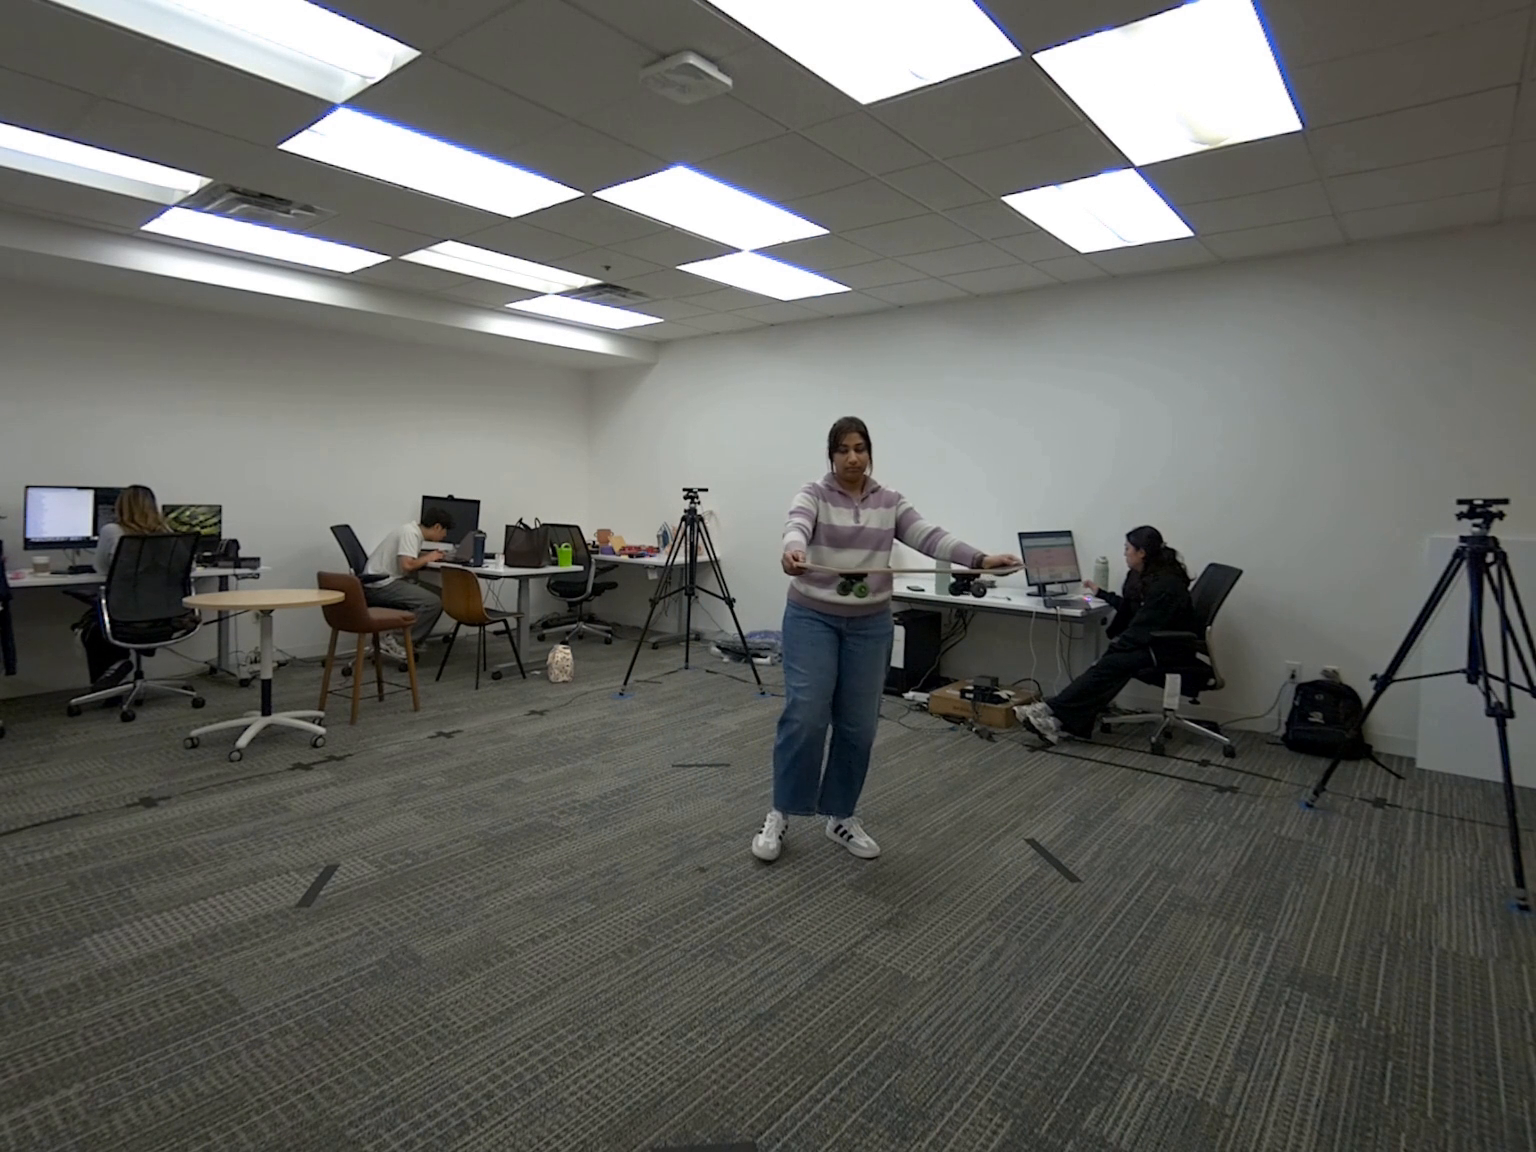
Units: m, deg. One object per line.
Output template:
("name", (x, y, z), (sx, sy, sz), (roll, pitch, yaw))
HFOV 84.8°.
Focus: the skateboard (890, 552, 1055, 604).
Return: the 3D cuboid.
("skateboard", (0.546, 0.004, 2.770), (0.771, 0.109, 0.199), (-3, 11, -18))
